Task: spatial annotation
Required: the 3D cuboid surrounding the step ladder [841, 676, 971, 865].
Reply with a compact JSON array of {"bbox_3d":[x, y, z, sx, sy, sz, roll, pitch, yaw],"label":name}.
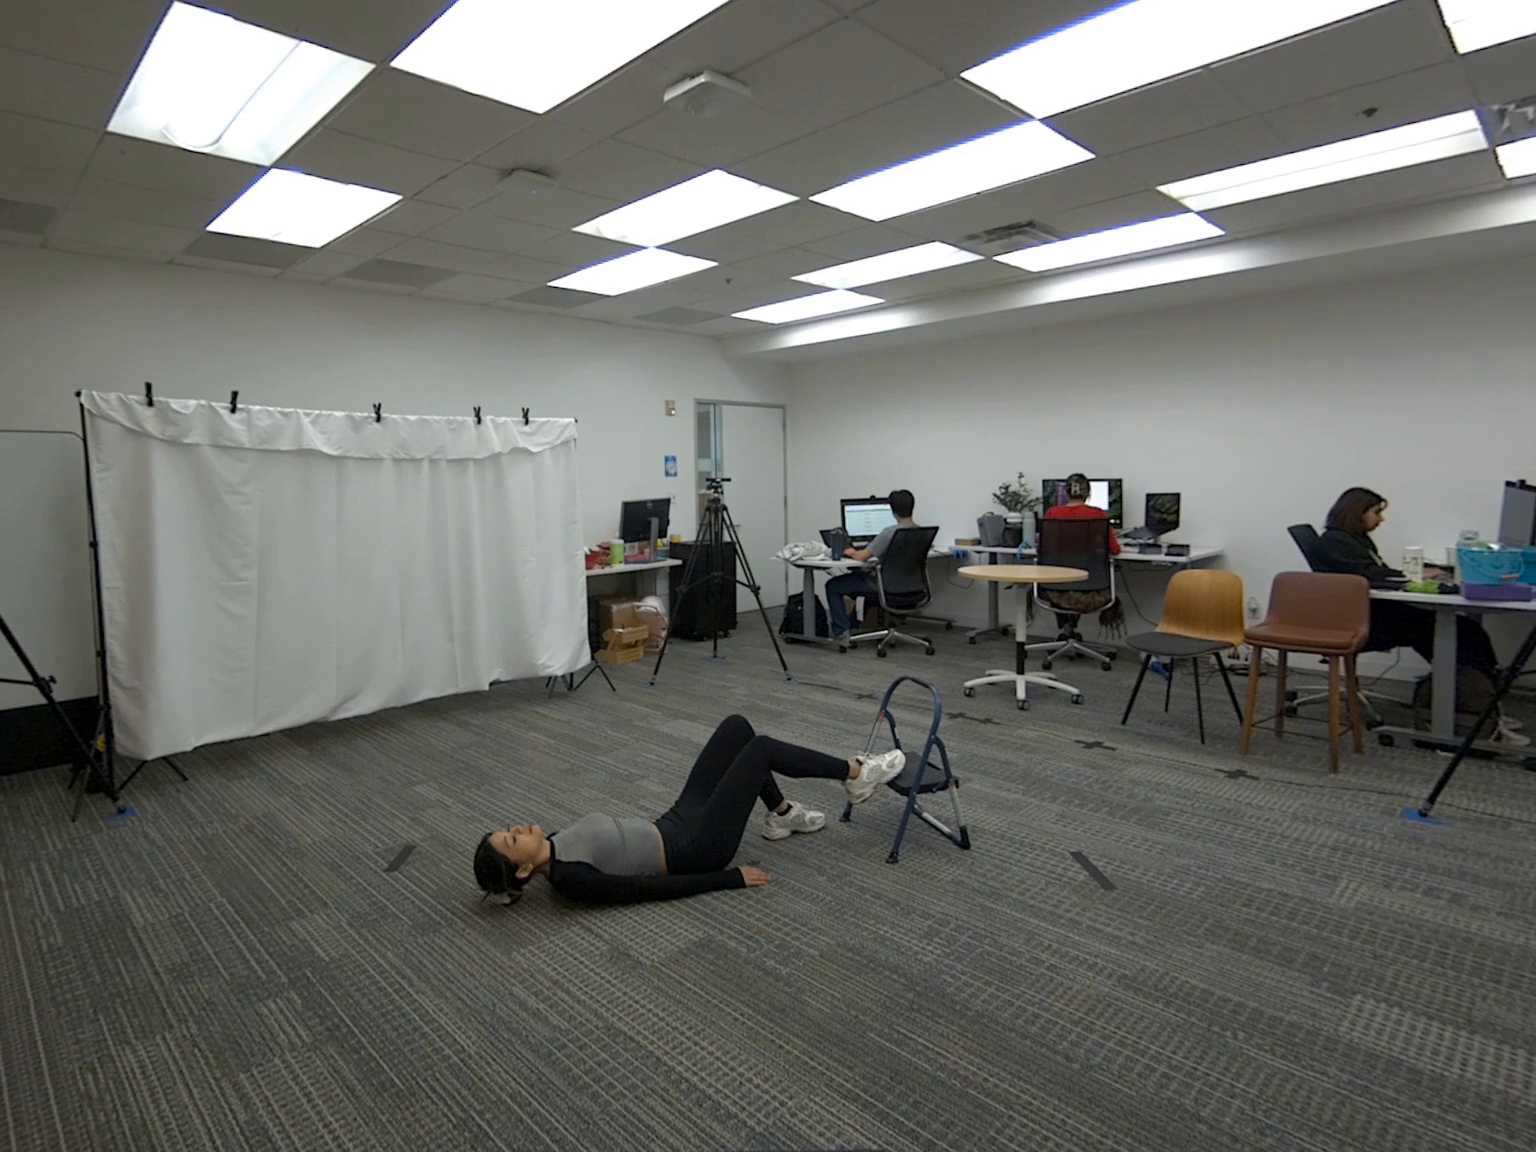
[{"bbox_3d":[0.522,0.709,3.316,0.343,0.604,0.440,-3,5,-19],"label":"step ladder"}]
